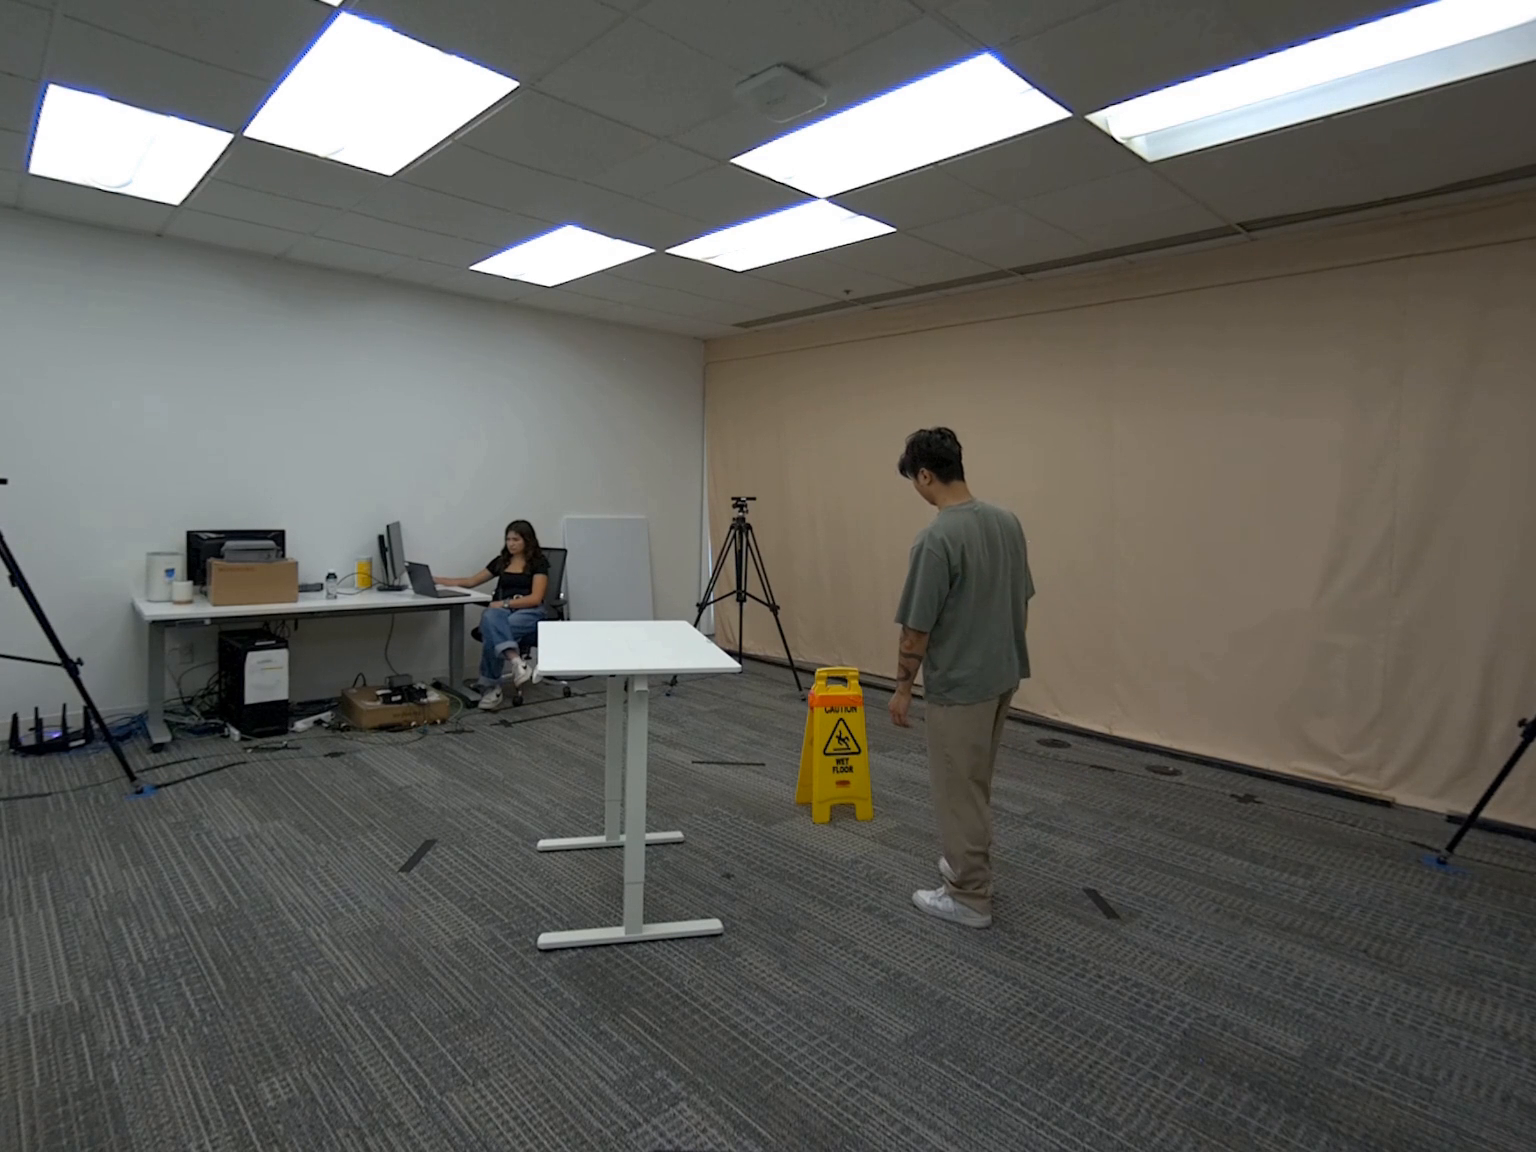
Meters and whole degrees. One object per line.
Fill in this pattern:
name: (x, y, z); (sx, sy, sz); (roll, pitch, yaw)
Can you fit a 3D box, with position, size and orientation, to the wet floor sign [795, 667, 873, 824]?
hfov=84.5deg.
wet floor sign: (0.292, 0.733, 3.782); (0.279, 0.645, 0.293); (2, 2, -14)
